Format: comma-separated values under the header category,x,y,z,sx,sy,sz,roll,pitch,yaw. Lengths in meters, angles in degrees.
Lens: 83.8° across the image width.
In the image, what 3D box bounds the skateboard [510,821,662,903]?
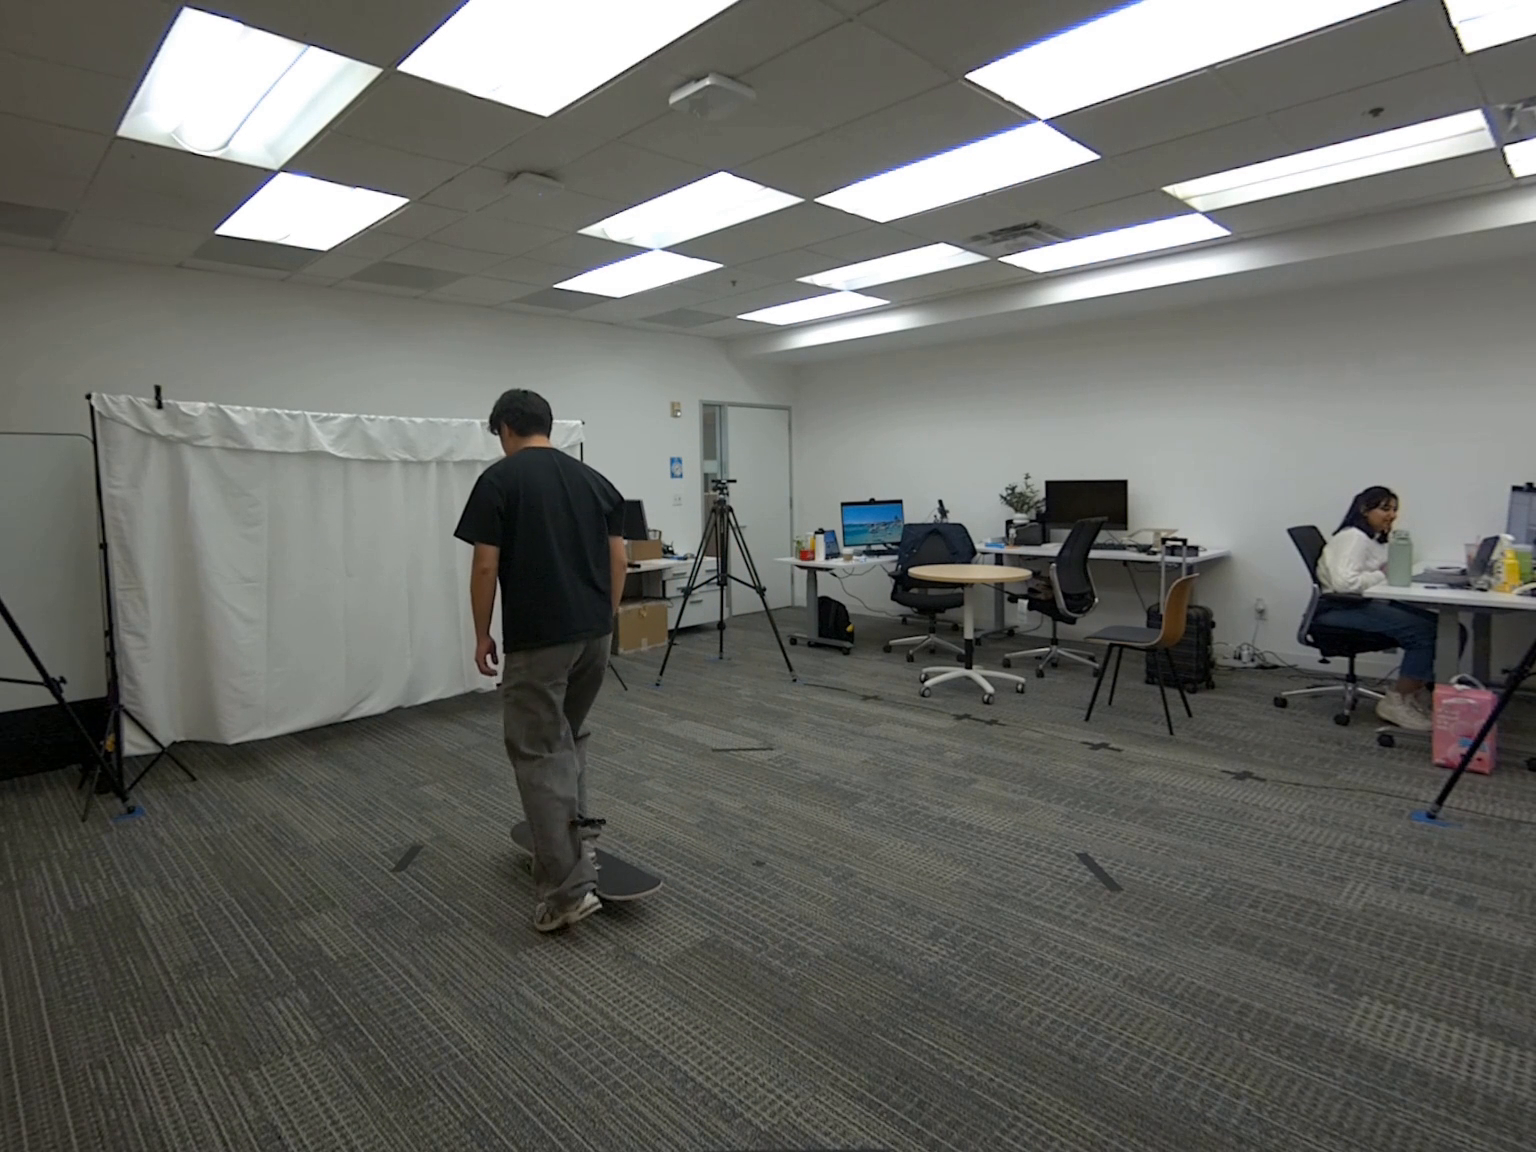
category,x,y,z,sx,sy,sz,roll,pitch,yaw
skateboard,-0.653,1.028,2.980,0.810,0.110,0.188,6,9,44
